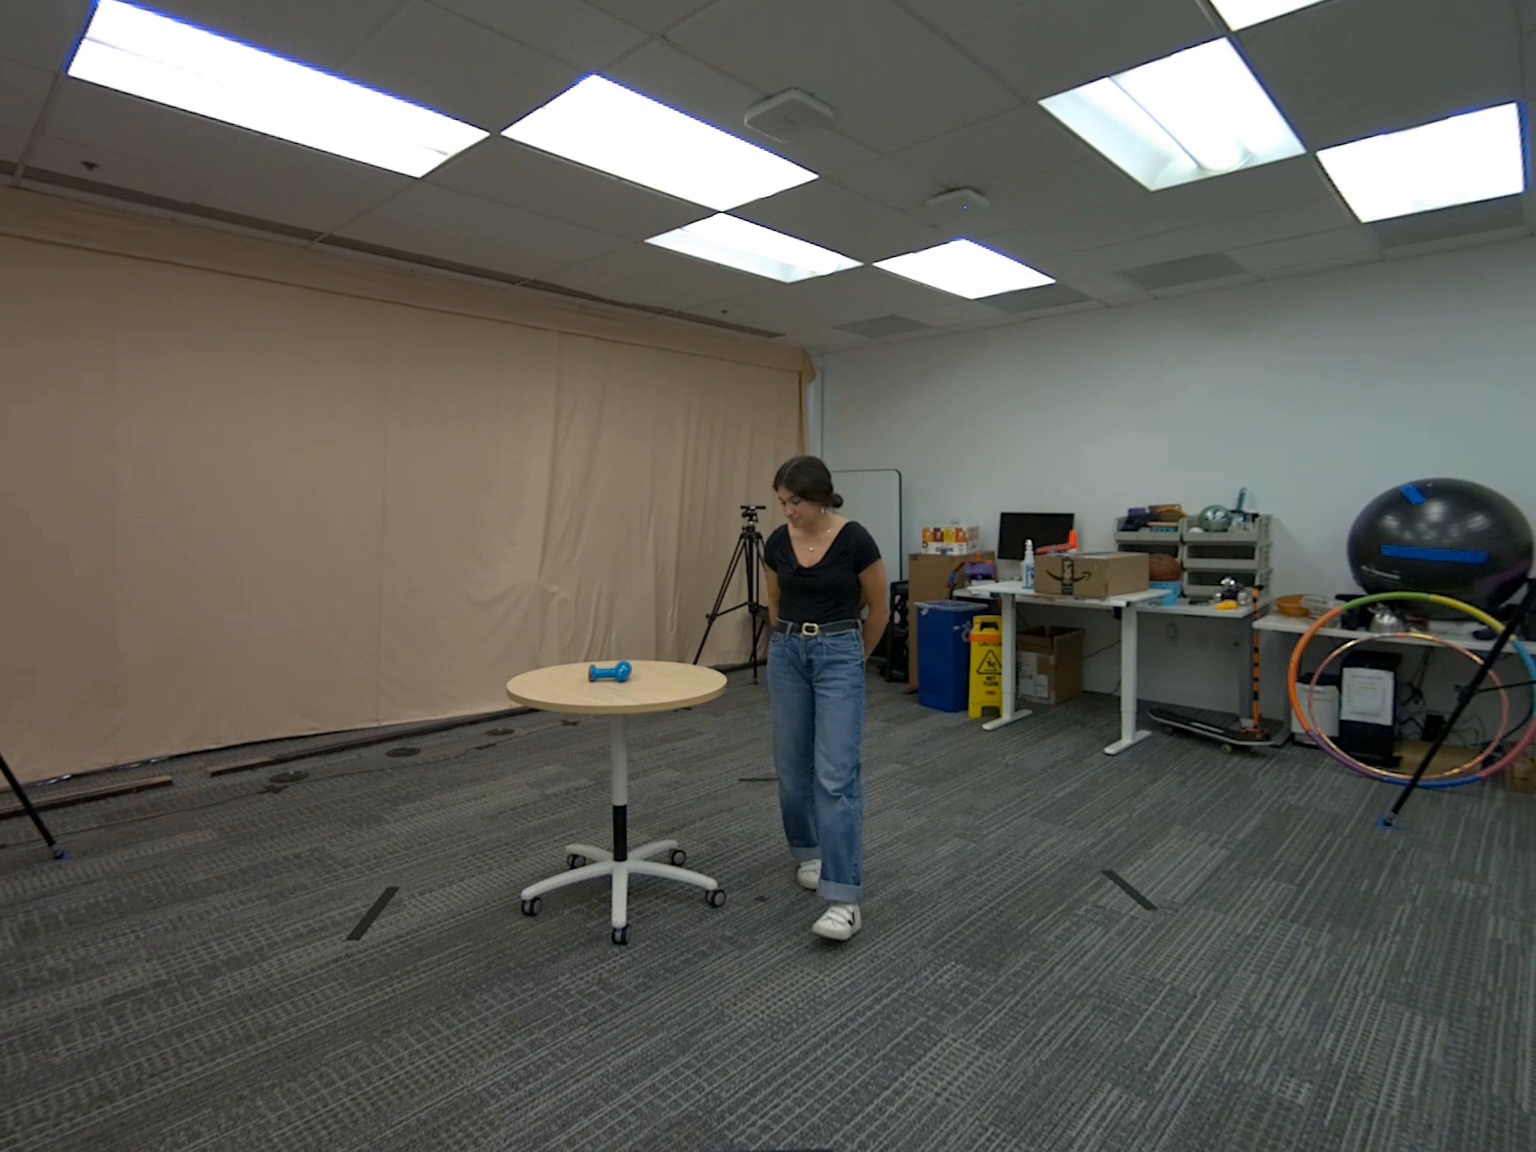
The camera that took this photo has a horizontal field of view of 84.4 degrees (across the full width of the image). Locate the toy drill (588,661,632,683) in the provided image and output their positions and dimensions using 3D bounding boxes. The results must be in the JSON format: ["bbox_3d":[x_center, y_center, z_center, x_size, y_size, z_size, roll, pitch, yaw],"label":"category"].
[{"bbox_3d":[-0.547,0.336,2.992,0.146,0.060,0.171,-1,13,1],"label":"toy drill"}]
